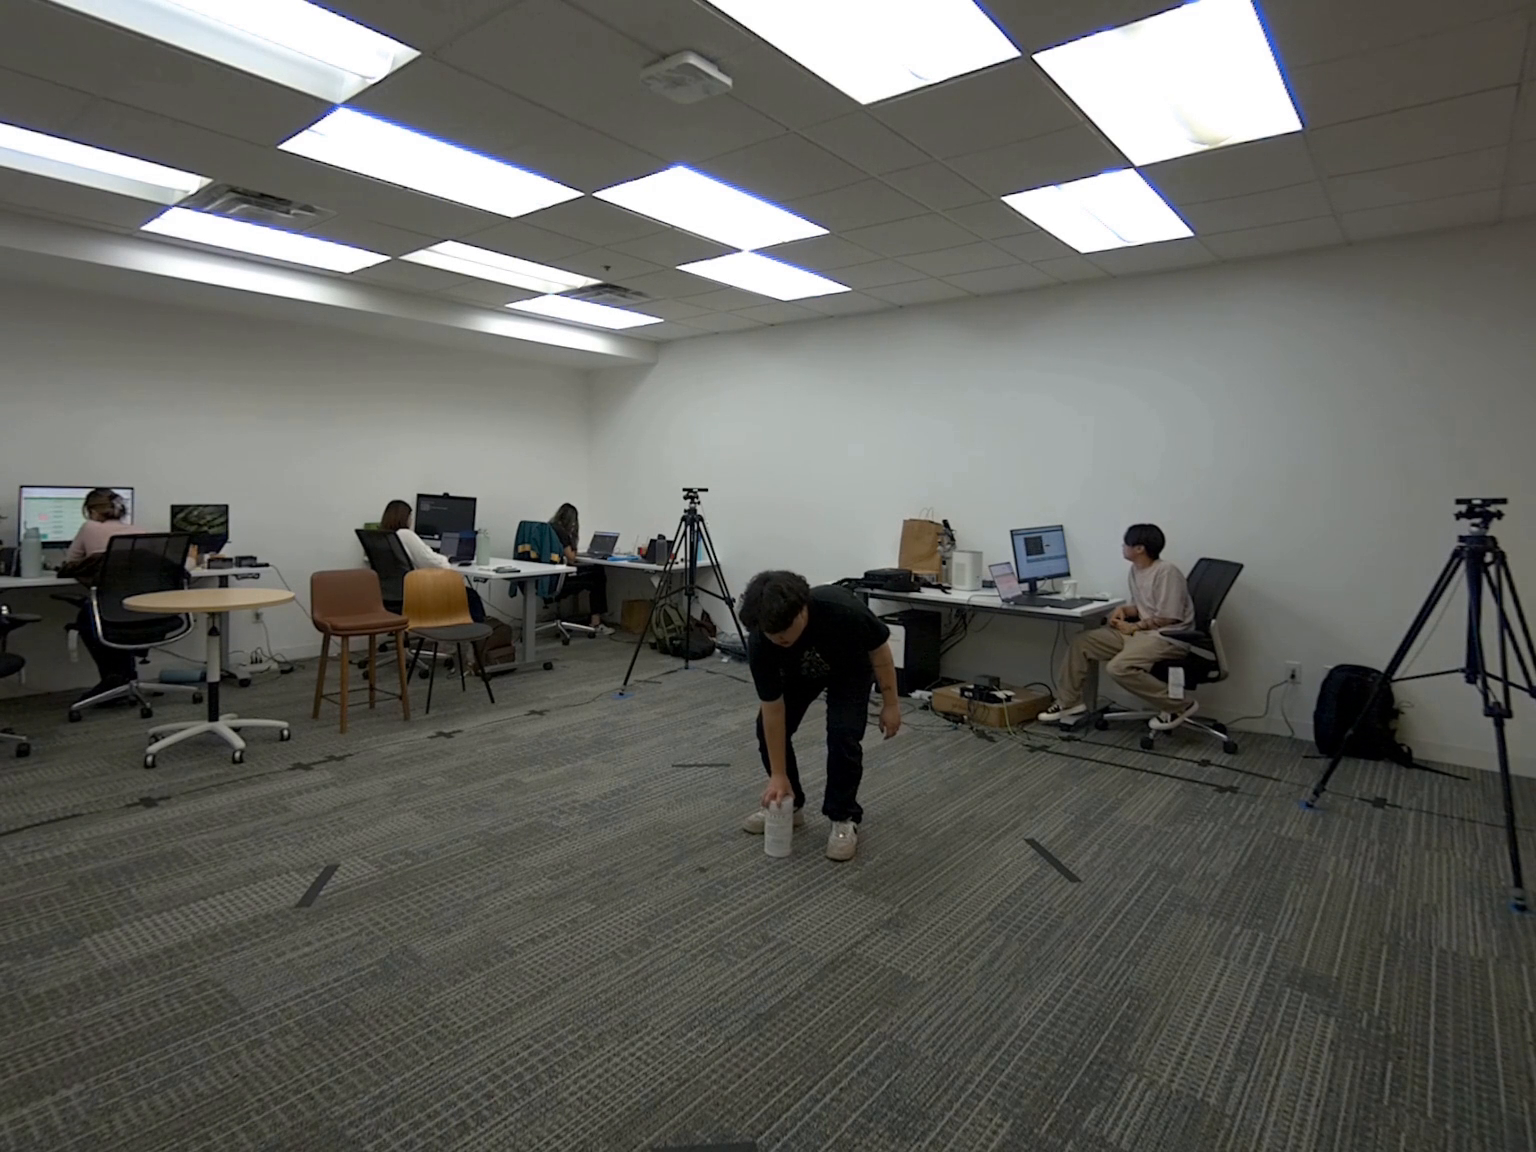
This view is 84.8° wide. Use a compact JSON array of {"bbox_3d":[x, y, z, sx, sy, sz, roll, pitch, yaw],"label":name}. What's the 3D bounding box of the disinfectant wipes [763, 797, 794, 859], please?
[{"bbox_3d":[0.040,0.952,3.266,0.117,0.217,0.118,1,4,-2],"label":"disinfectant wipes"}]
